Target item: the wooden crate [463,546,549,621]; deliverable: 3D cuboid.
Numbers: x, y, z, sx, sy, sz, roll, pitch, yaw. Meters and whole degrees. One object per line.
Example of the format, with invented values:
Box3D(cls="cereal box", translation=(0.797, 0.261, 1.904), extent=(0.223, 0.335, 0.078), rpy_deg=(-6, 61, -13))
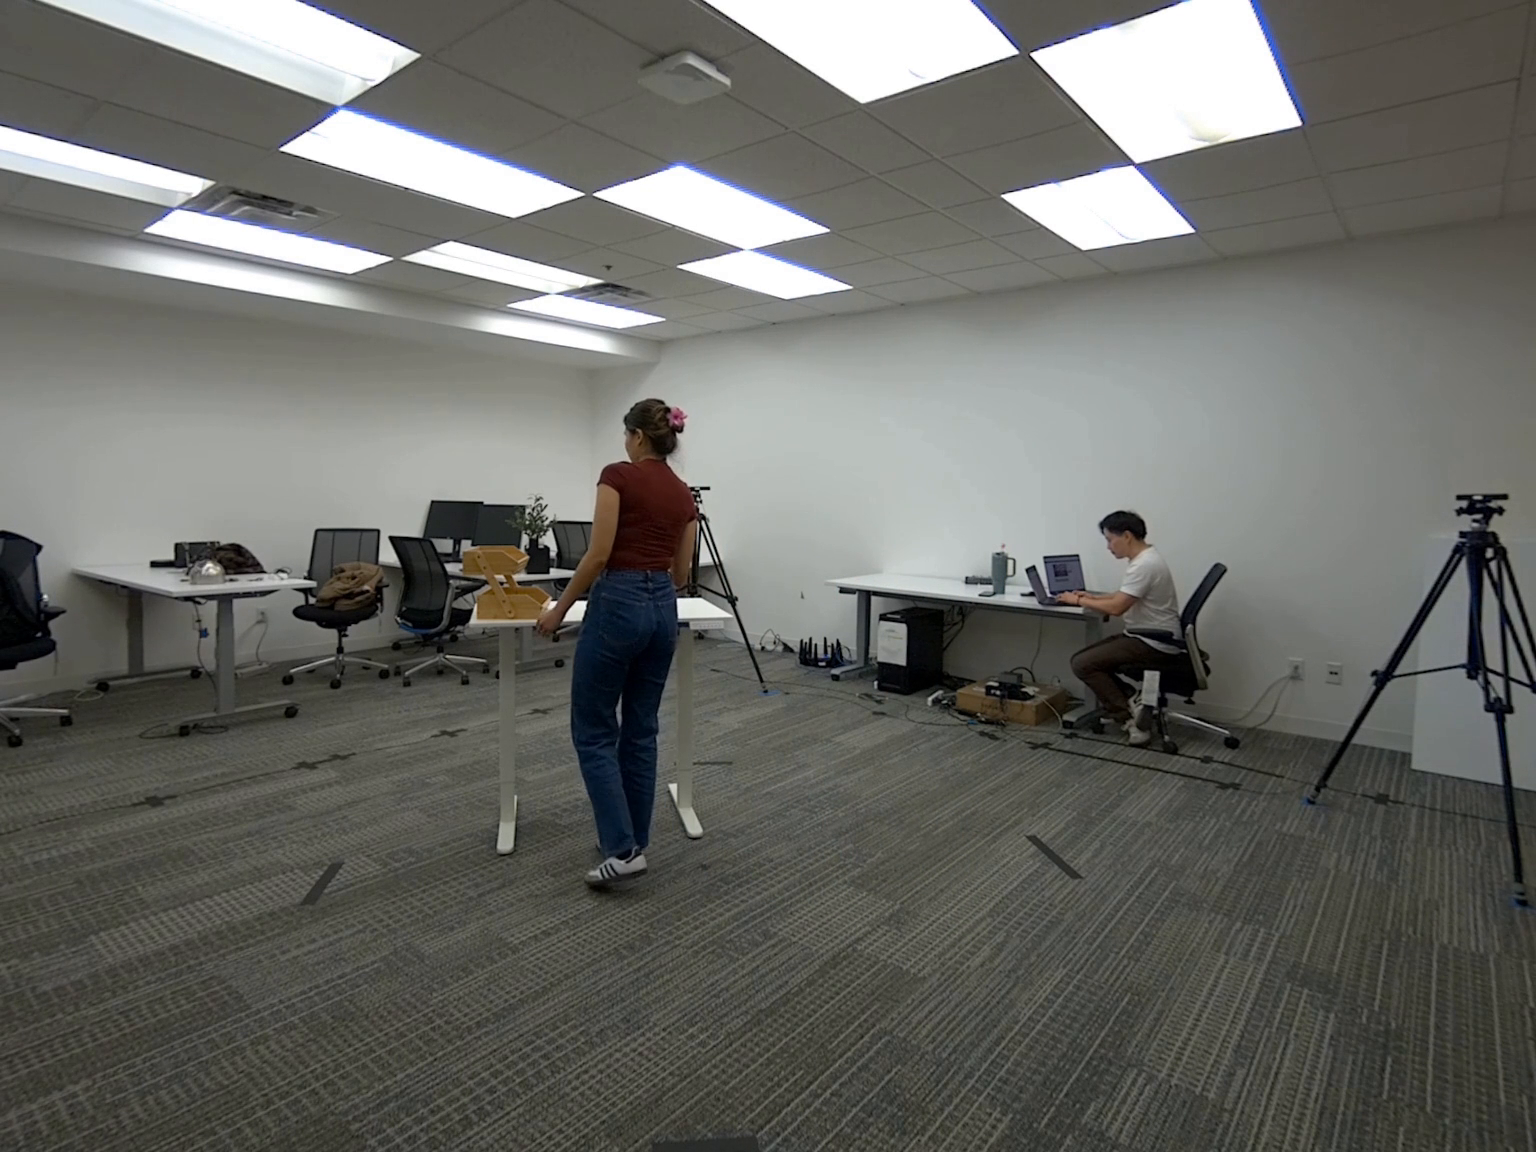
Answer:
Box3D(cls="wooden crate", translation=(-1.037, 0.018, 3.372), extent=(0.300, 0.272, 0.327), rpy_deg=(0, 4, -6))
